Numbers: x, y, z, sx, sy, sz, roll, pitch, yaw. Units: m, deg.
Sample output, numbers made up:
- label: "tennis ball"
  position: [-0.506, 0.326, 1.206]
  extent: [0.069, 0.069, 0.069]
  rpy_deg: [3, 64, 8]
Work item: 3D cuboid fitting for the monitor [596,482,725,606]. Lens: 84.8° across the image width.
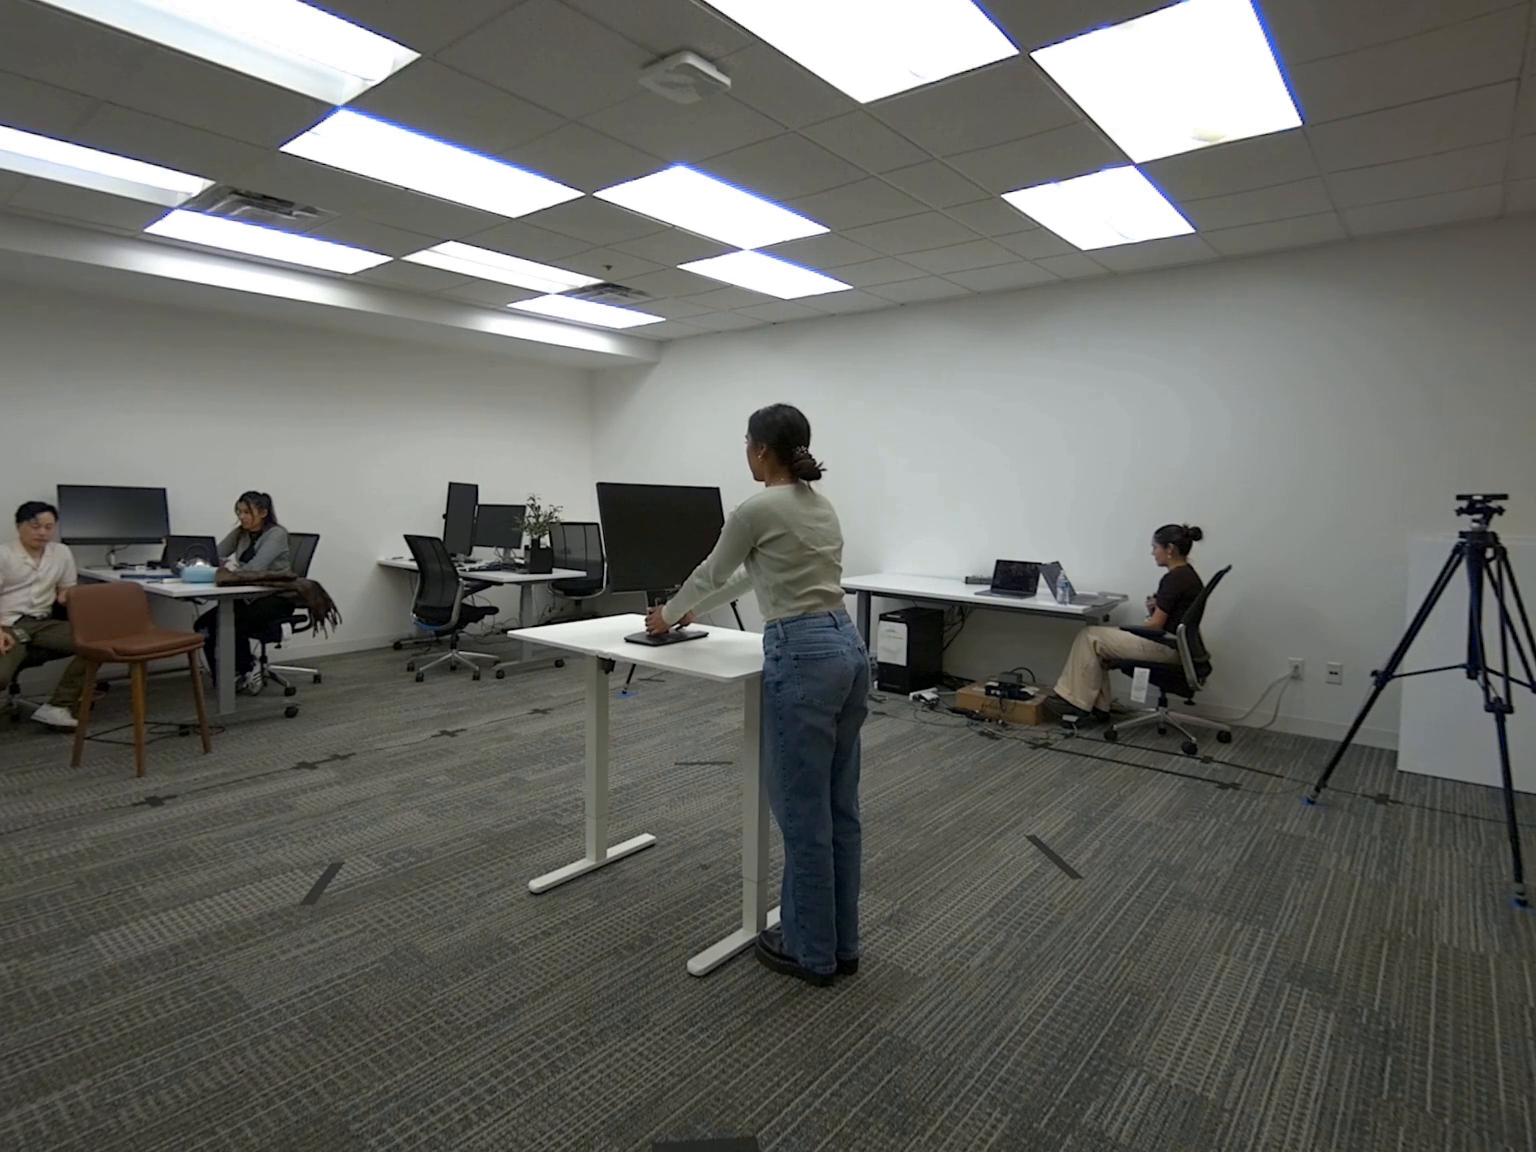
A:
- label: "monitor"
  position: [-0.359, -0.046, 2.849]
  extent: [0.193, 0.521, 0.523]
  rpy_deg: [2, 4, 42]
